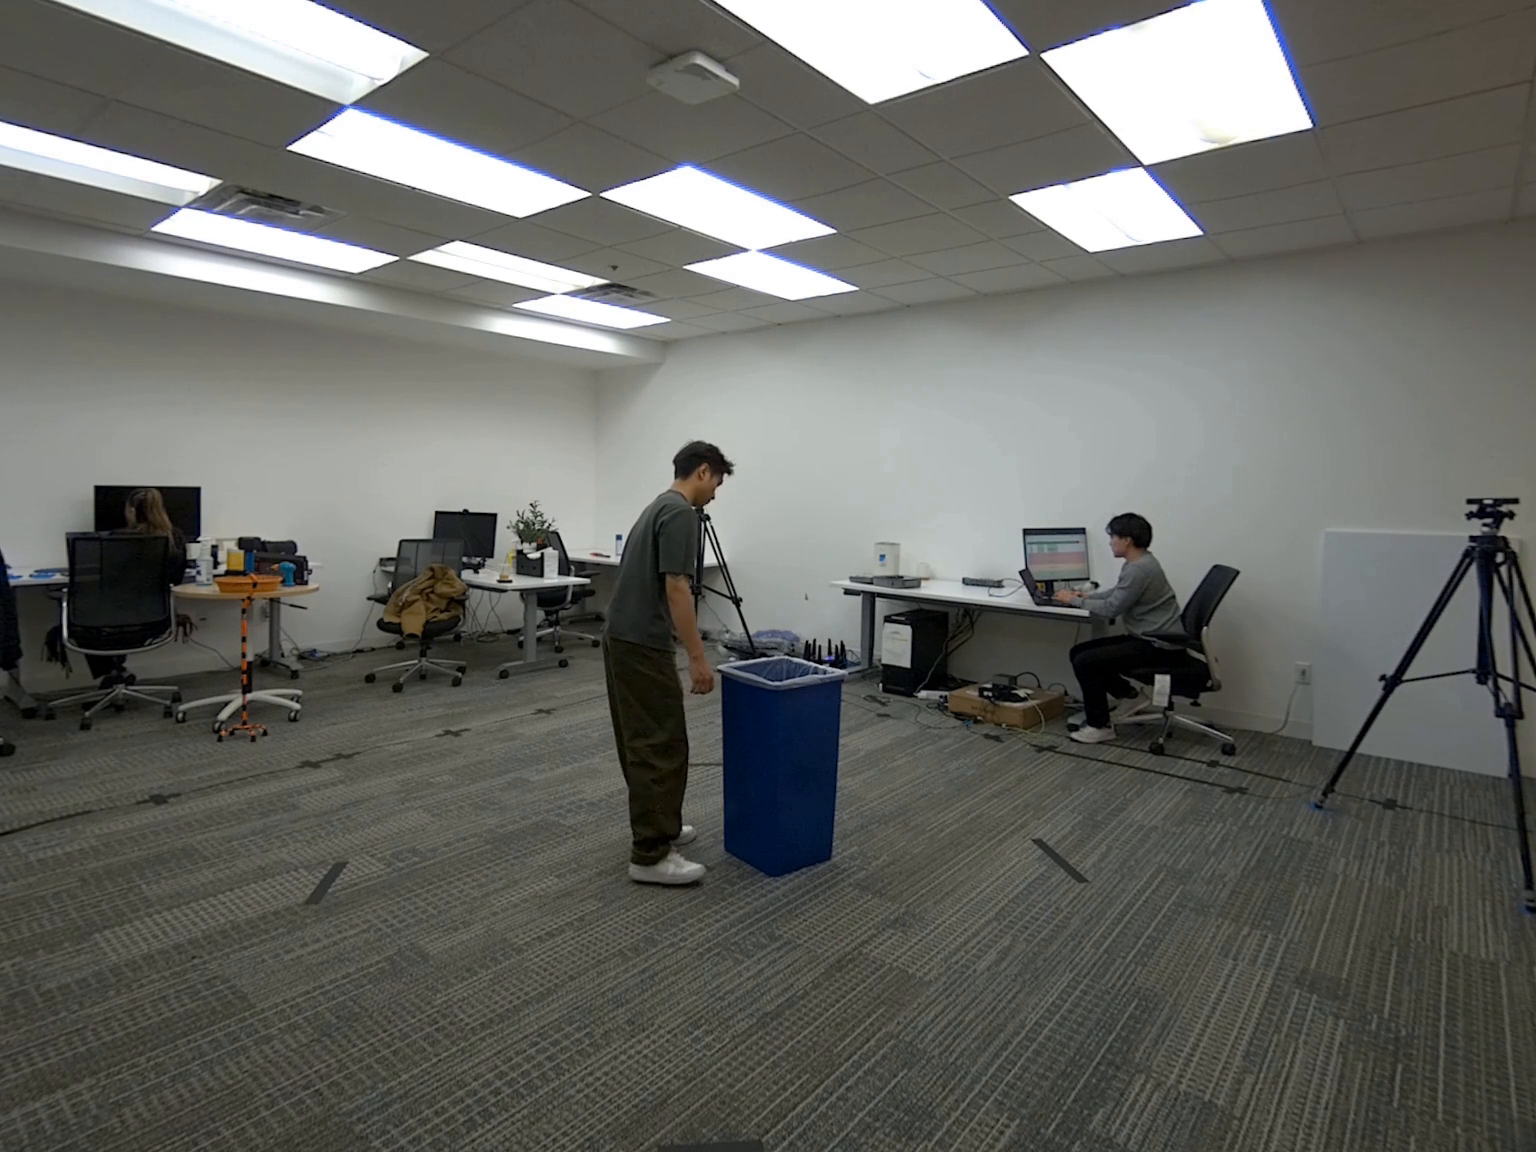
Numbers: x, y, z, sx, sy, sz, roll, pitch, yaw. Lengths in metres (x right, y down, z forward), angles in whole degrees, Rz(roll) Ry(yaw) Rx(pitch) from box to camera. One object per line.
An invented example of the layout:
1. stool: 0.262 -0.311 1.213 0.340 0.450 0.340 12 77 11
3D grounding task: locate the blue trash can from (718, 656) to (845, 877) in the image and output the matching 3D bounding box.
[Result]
1. blue trash can: 0.044 0.704 3.224 0.367 0.712 0.386 -2 4 -41
